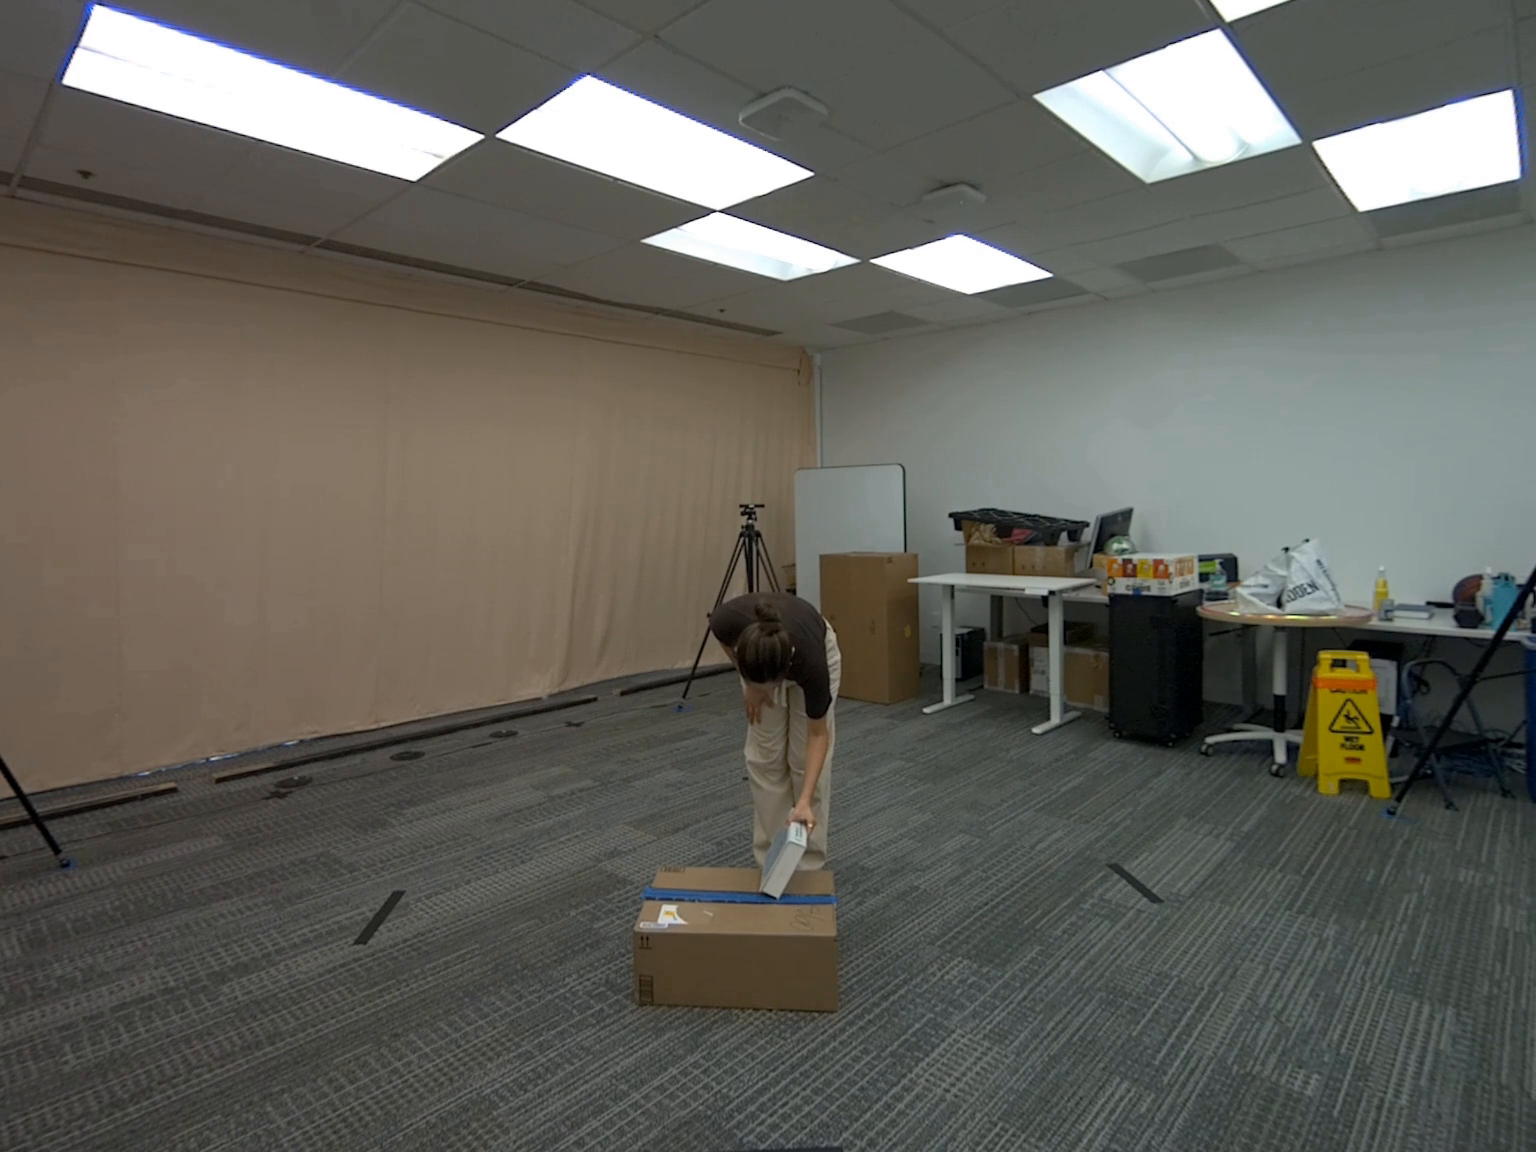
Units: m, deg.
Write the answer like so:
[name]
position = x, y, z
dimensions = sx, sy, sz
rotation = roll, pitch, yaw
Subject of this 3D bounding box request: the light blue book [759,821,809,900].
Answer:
[light blue book]
position = 0.053, 0.854, 2.630
dimensions = 0.059, 0.191, 0.260
rotation = 27, 7, 0
